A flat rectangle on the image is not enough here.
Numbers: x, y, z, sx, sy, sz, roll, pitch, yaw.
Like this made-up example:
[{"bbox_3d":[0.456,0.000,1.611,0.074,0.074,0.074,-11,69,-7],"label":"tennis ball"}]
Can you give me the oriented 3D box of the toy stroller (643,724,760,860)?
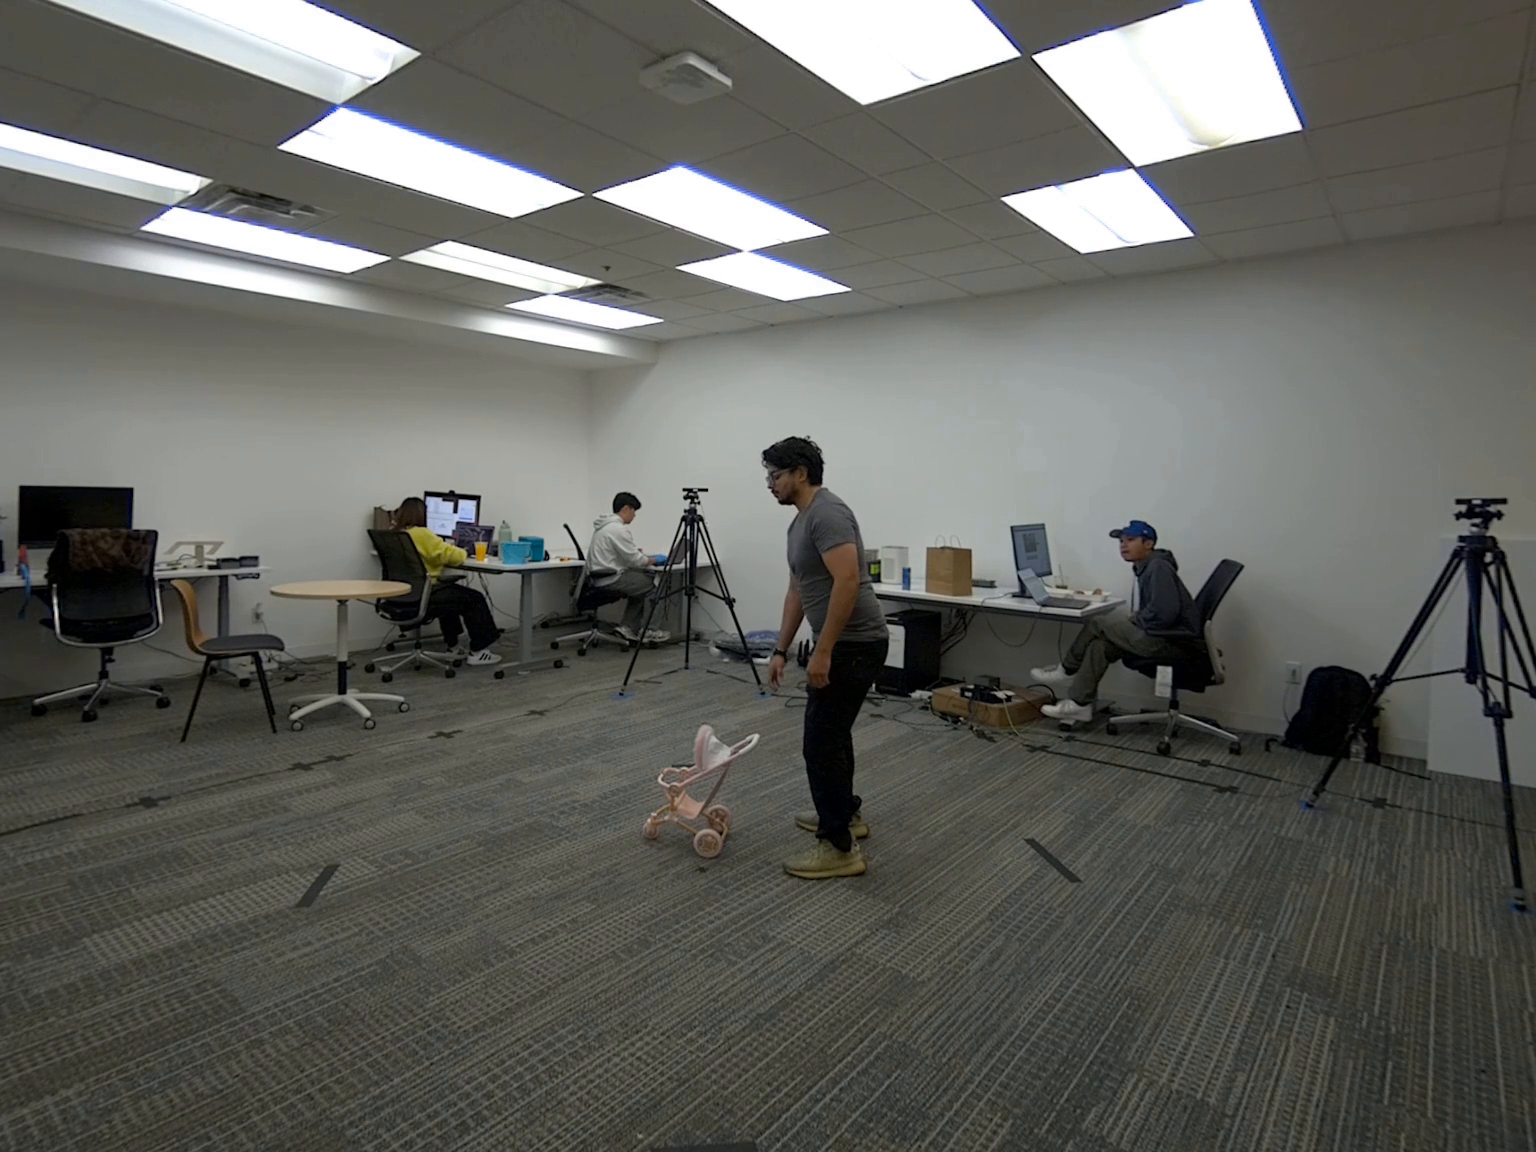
[{"bbox_3d":[-0.286,0.828,3.337,0.347,0.533,0.278,18,7,12],"label":"toy stroller"}]
